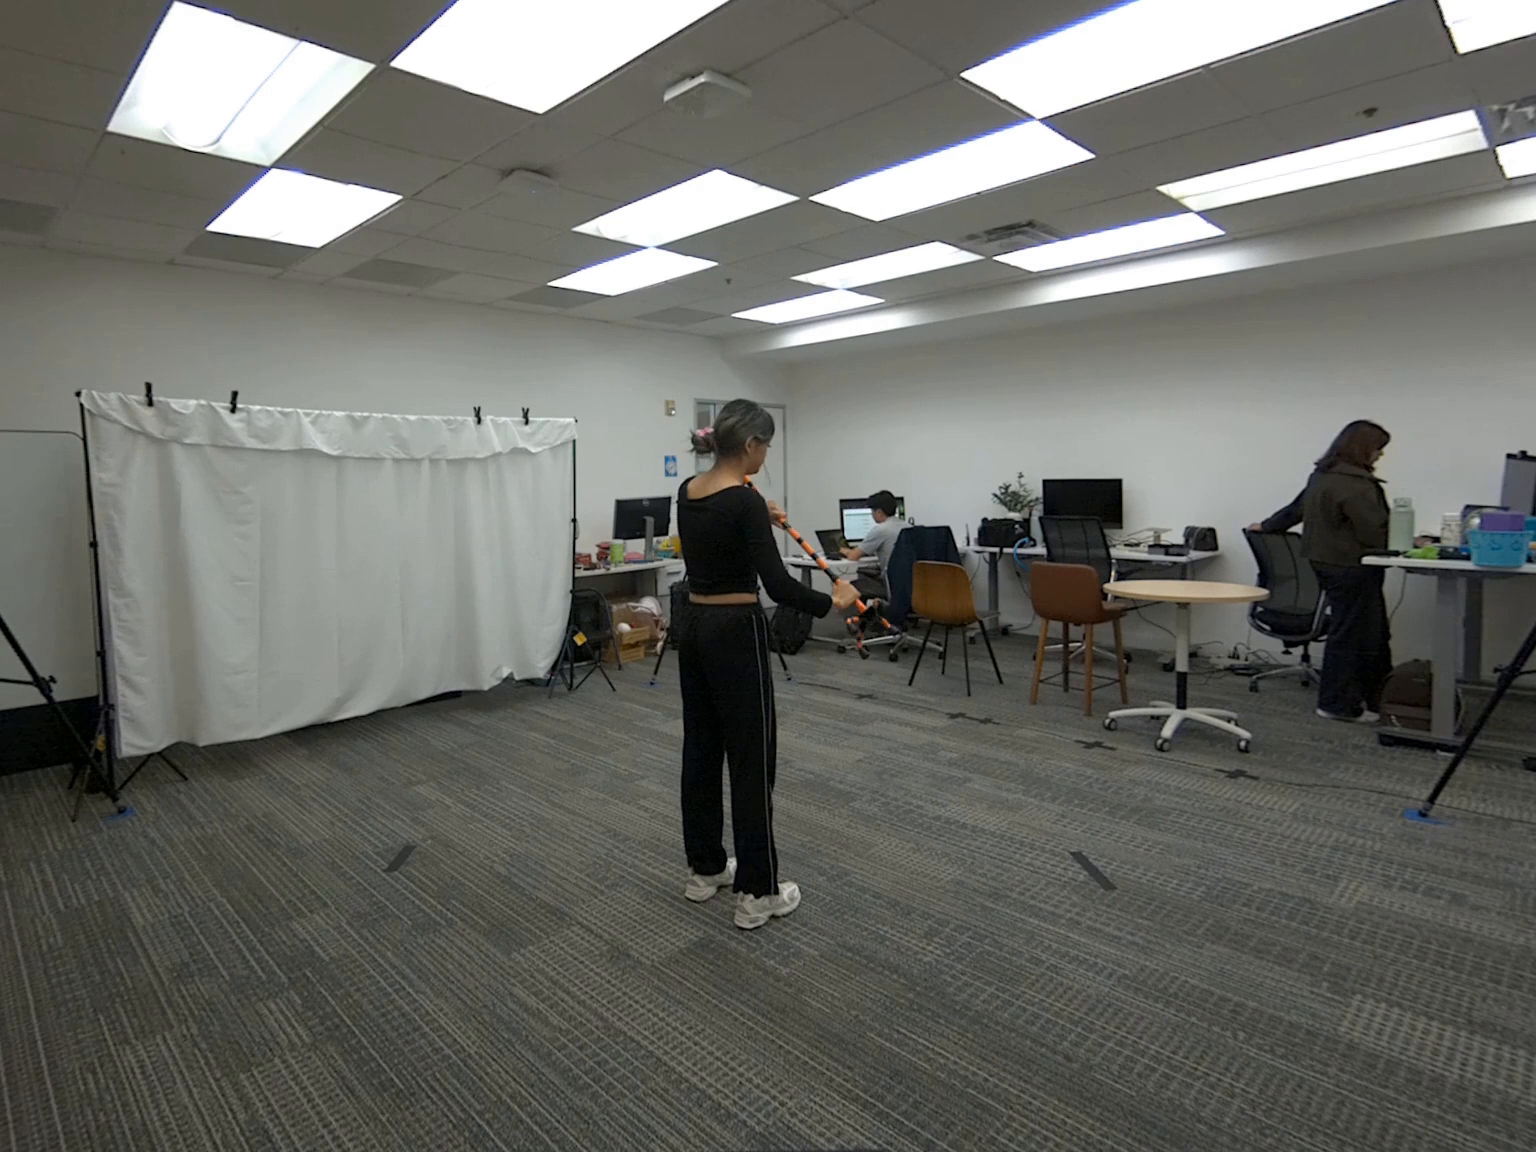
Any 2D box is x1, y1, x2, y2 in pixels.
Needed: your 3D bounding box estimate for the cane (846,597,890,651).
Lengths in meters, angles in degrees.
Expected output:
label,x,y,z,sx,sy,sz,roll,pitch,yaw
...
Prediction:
label,x,y,z,sx,sy,sz,roll,pitch,yaw
cane,0.097,-0.115,2.951,0.151,0.943,0.199,-36,-37,-4
